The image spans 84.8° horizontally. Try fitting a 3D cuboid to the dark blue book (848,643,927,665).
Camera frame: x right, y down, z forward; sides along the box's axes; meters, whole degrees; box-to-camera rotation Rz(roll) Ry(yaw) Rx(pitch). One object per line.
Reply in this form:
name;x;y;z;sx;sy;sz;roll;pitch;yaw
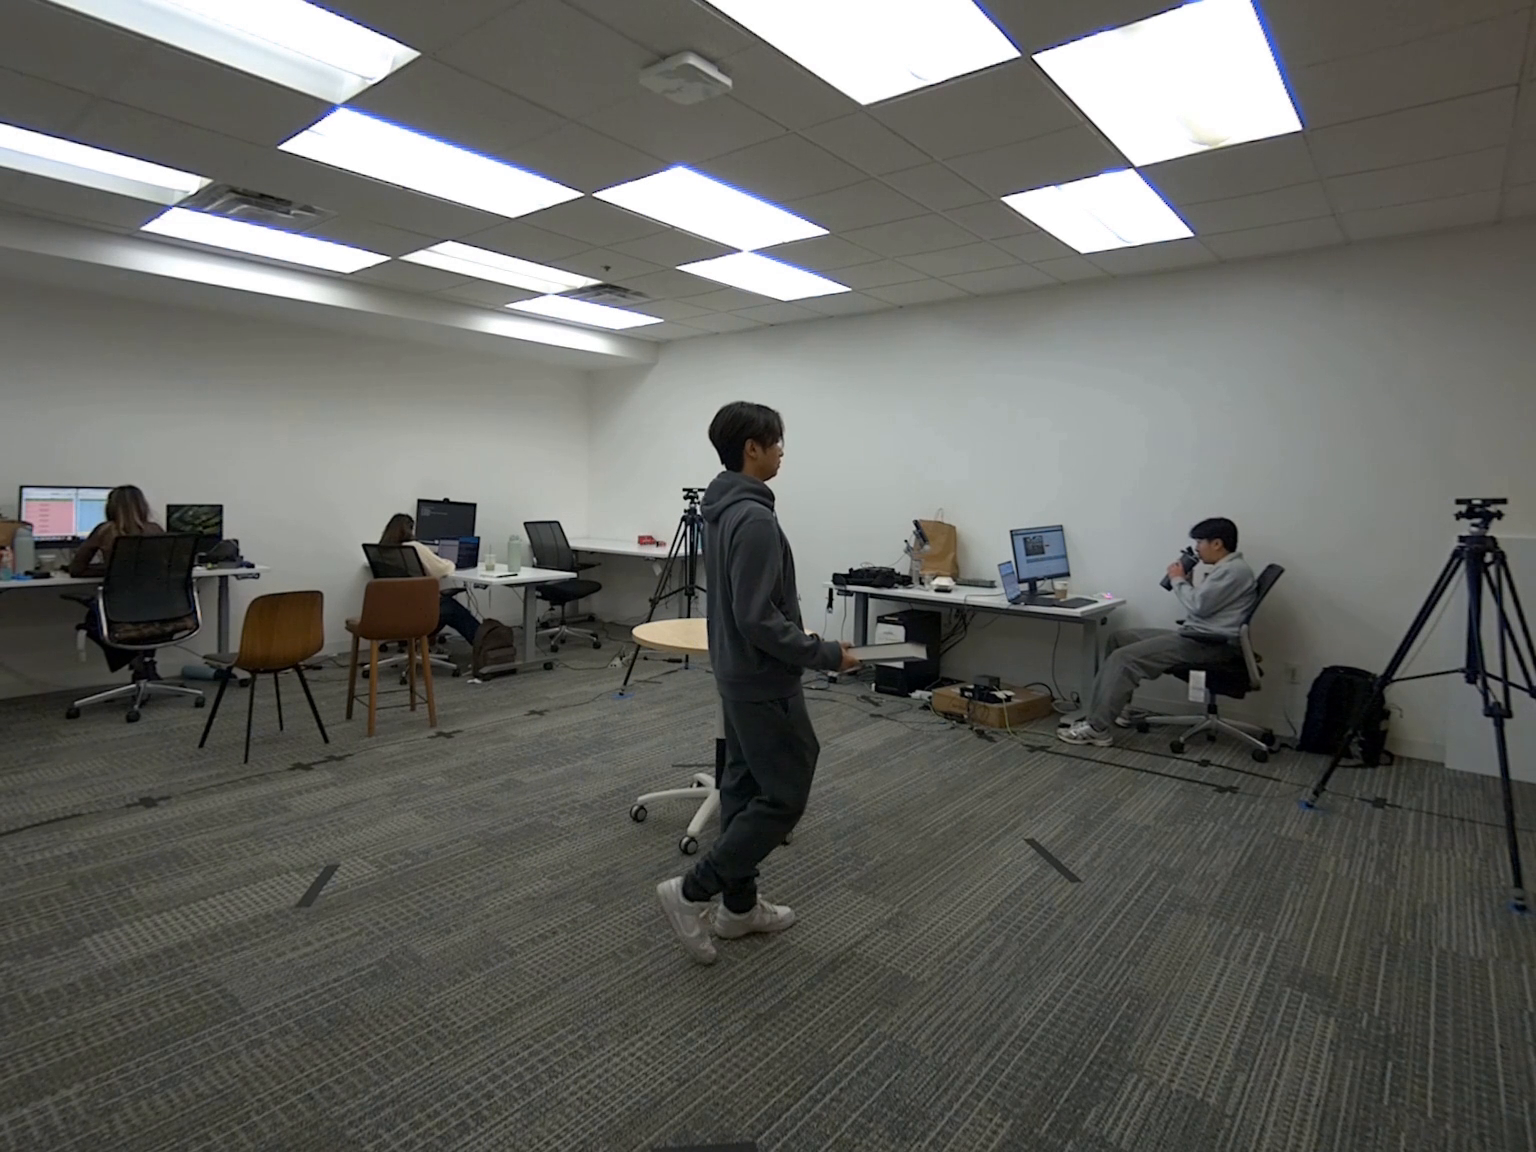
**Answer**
dark blue book;0.330;0.229;2.505;0.250;0.046;0.158;-6;-10;22
